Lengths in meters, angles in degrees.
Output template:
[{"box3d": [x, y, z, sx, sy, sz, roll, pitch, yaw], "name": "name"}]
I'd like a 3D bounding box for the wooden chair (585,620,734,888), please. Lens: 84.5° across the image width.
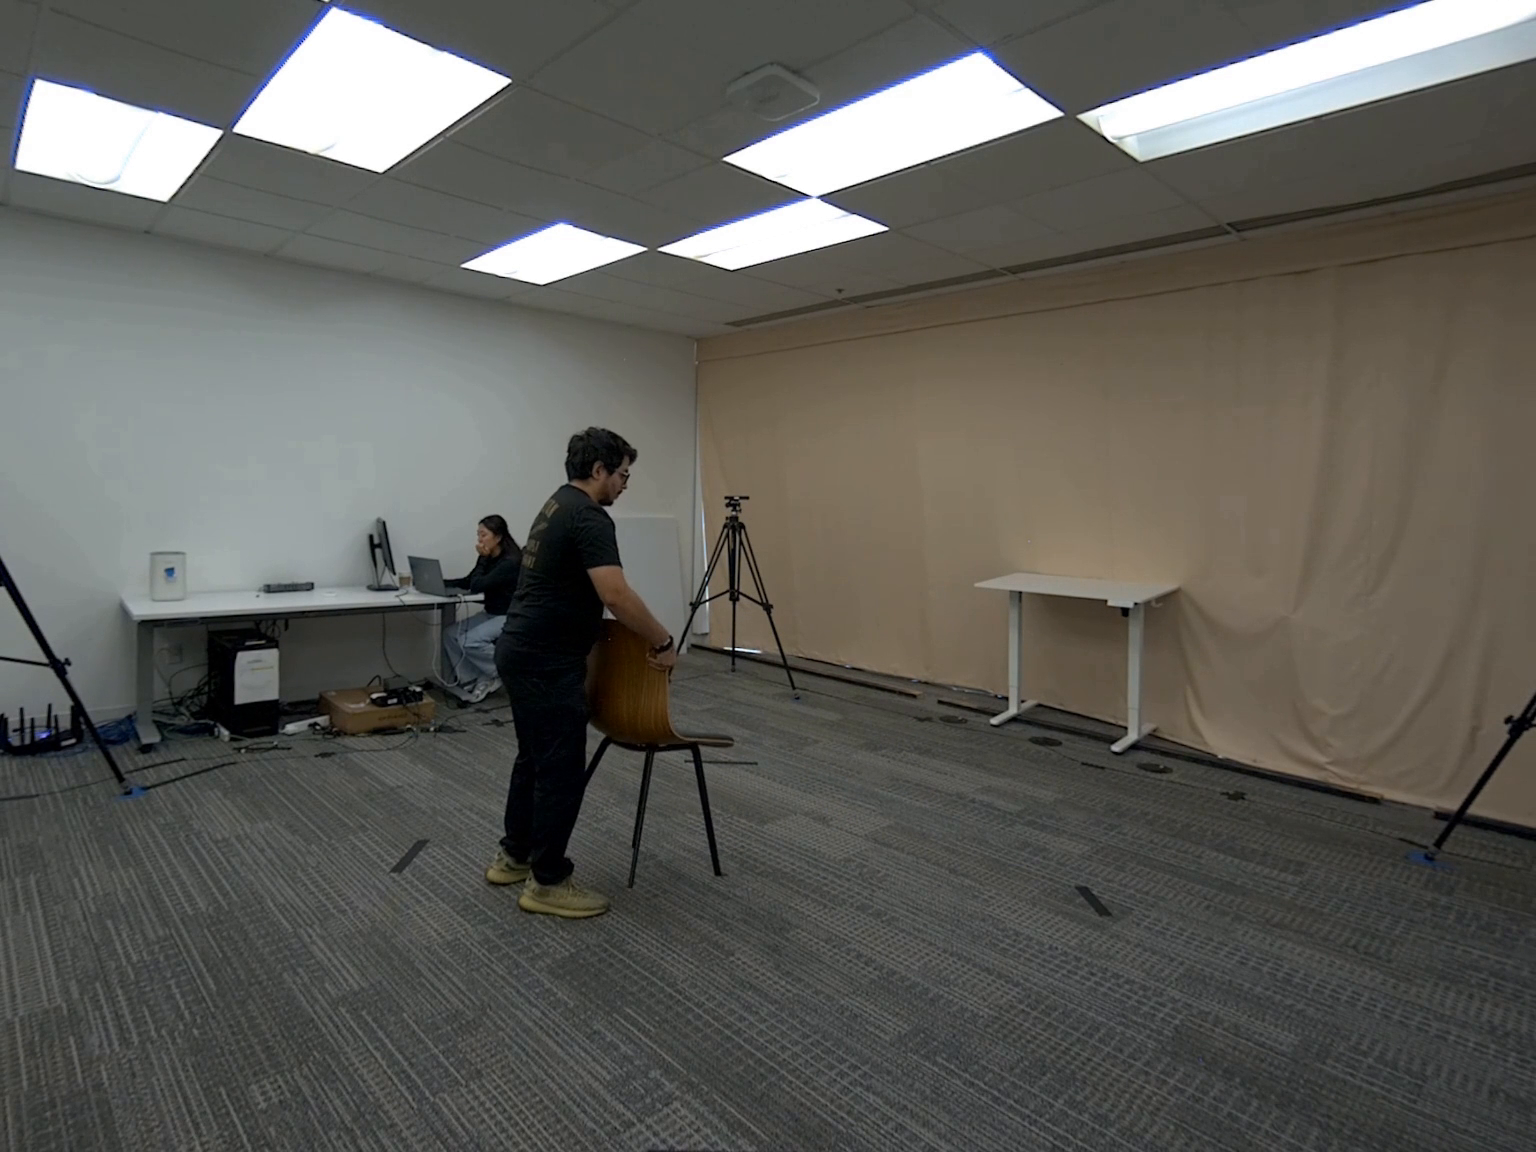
[{"box3d": [-0.418, 0.607, 3.044, 0.489, 0.880, 0.509, 0, -6, 38], "name": "wooden chair"}]
